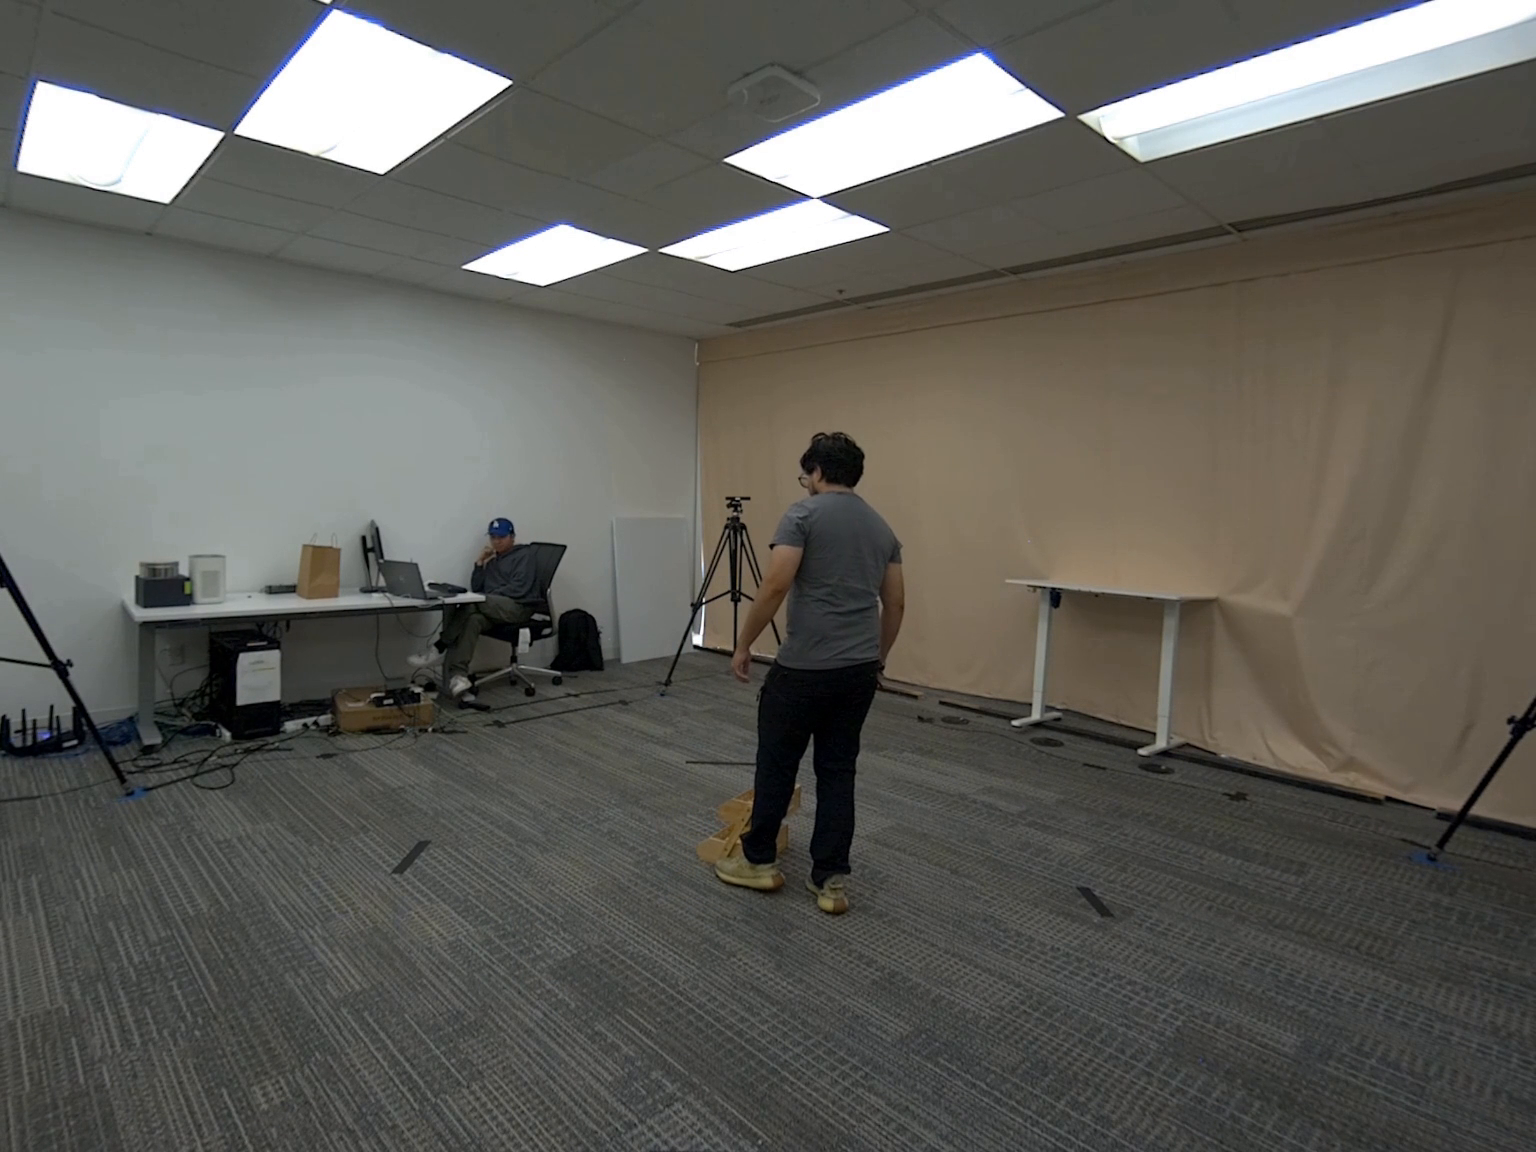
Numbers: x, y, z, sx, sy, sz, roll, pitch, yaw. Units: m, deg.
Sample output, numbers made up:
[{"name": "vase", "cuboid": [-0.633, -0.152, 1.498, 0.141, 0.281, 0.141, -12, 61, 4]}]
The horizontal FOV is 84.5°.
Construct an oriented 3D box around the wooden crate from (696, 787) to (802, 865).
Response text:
[{"name": "wooden crate", "cuboid": [-0.086, 0.959, 3.301, 0.308, 0.272, 0.318, 5, 5, 29]}]
